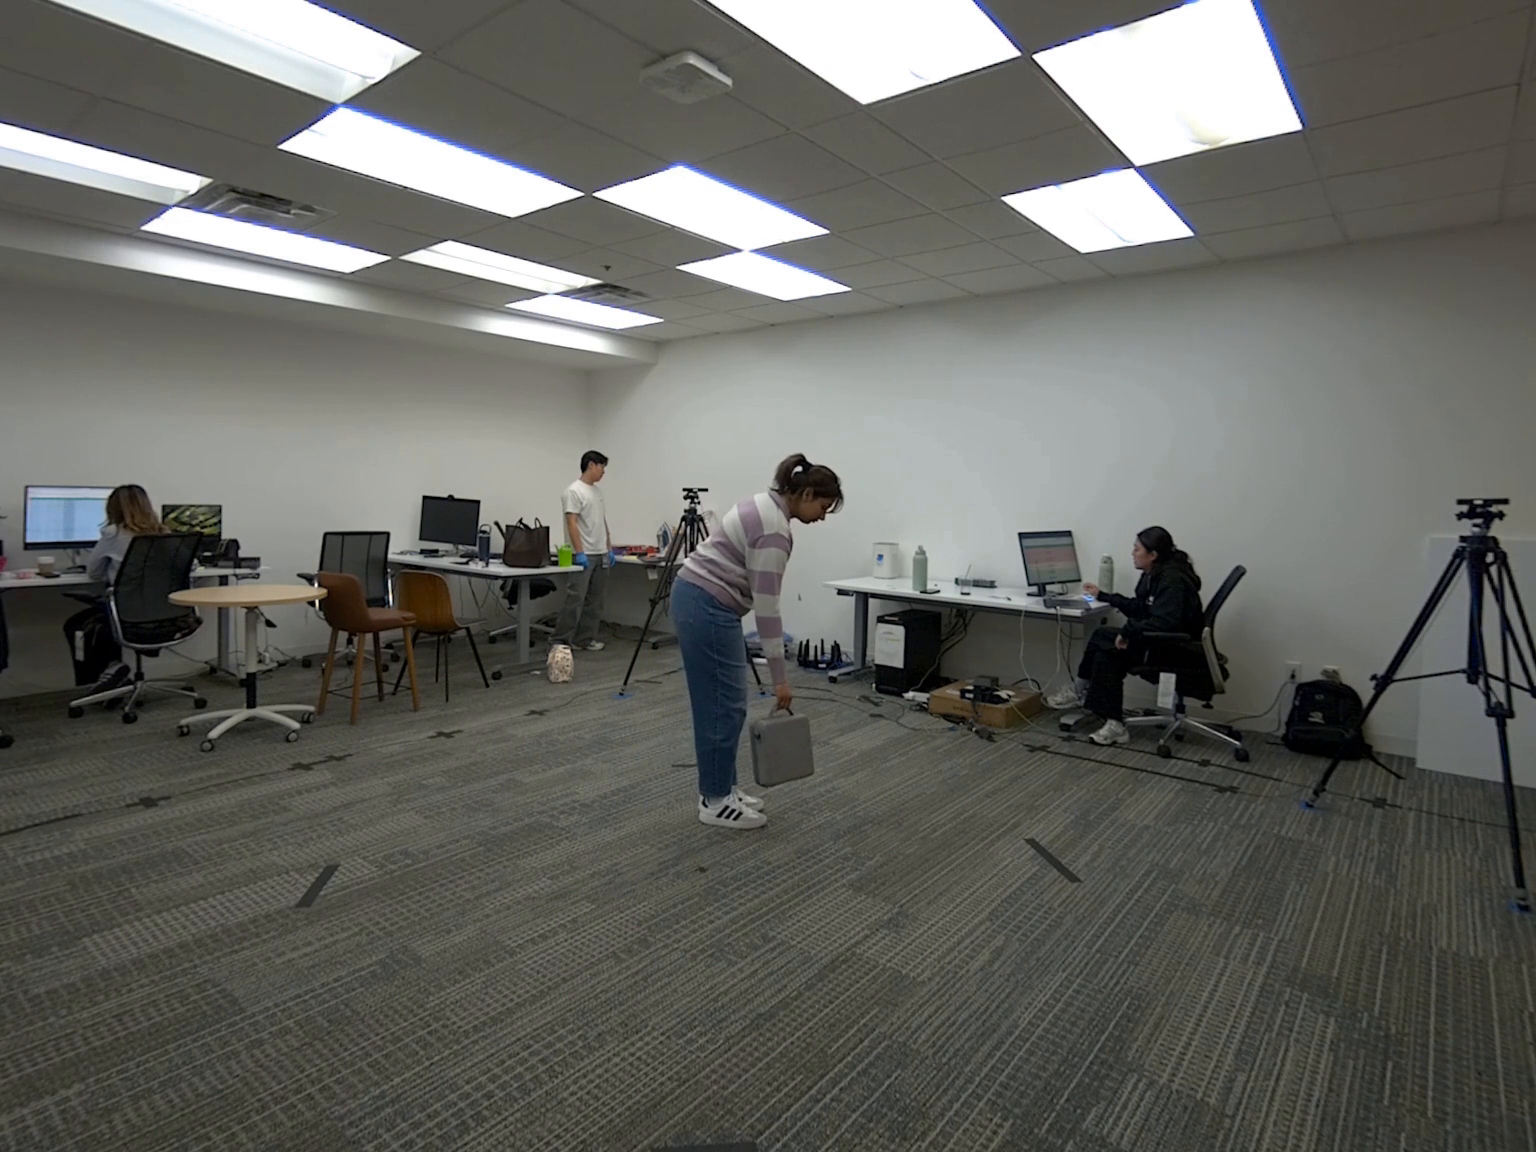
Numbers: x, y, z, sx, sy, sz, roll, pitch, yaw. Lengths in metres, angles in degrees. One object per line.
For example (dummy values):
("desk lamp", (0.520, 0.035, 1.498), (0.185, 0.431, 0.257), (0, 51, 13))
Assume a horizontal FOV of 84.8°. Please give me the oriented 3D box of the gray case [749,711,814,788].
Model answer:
("gray case", (0.045, 0.677, 3.376), (0.250, 0.261, 0.107), (-3, -3, -35))
